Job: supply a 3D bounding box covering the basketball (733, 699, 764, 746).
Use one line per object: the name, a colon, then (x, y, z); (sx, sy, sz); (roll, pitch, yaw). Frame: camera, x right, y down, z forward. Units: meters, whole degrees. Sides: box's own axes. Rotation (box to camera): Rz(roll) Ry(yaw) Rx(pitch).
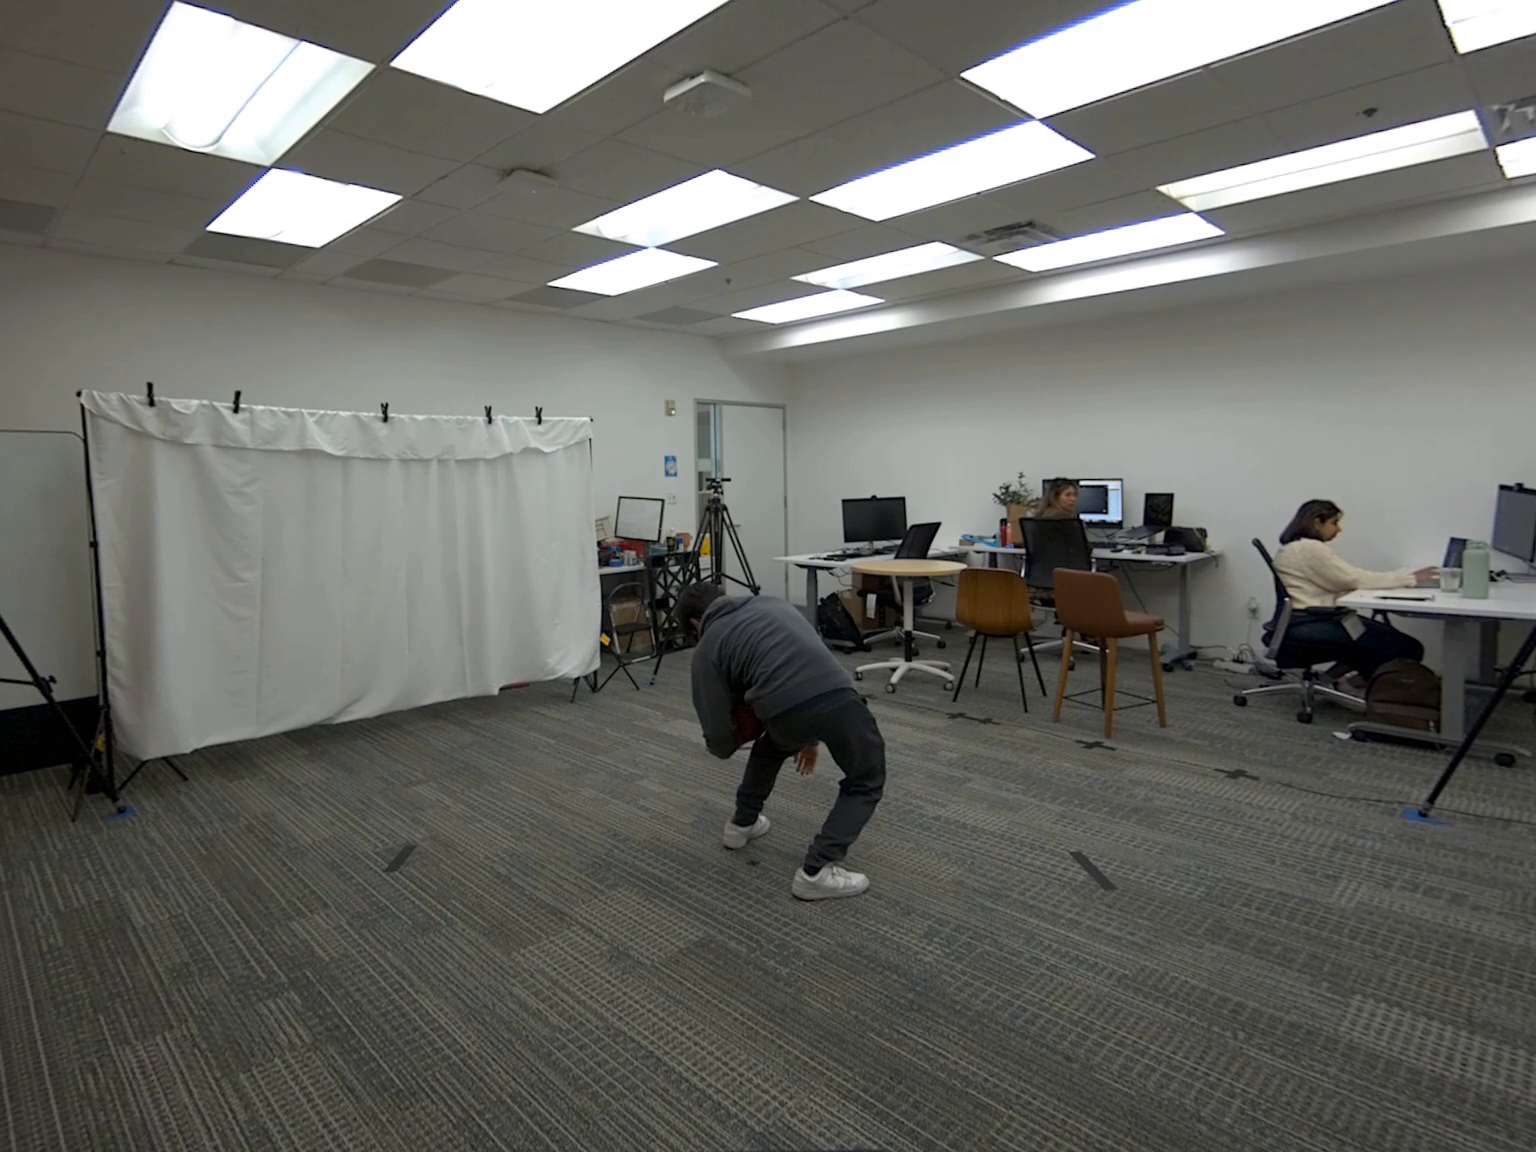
basketball: (-0.099, 0.513, 3.283); (0.236, 0.235, 0.237); (-1, 5, -2)
